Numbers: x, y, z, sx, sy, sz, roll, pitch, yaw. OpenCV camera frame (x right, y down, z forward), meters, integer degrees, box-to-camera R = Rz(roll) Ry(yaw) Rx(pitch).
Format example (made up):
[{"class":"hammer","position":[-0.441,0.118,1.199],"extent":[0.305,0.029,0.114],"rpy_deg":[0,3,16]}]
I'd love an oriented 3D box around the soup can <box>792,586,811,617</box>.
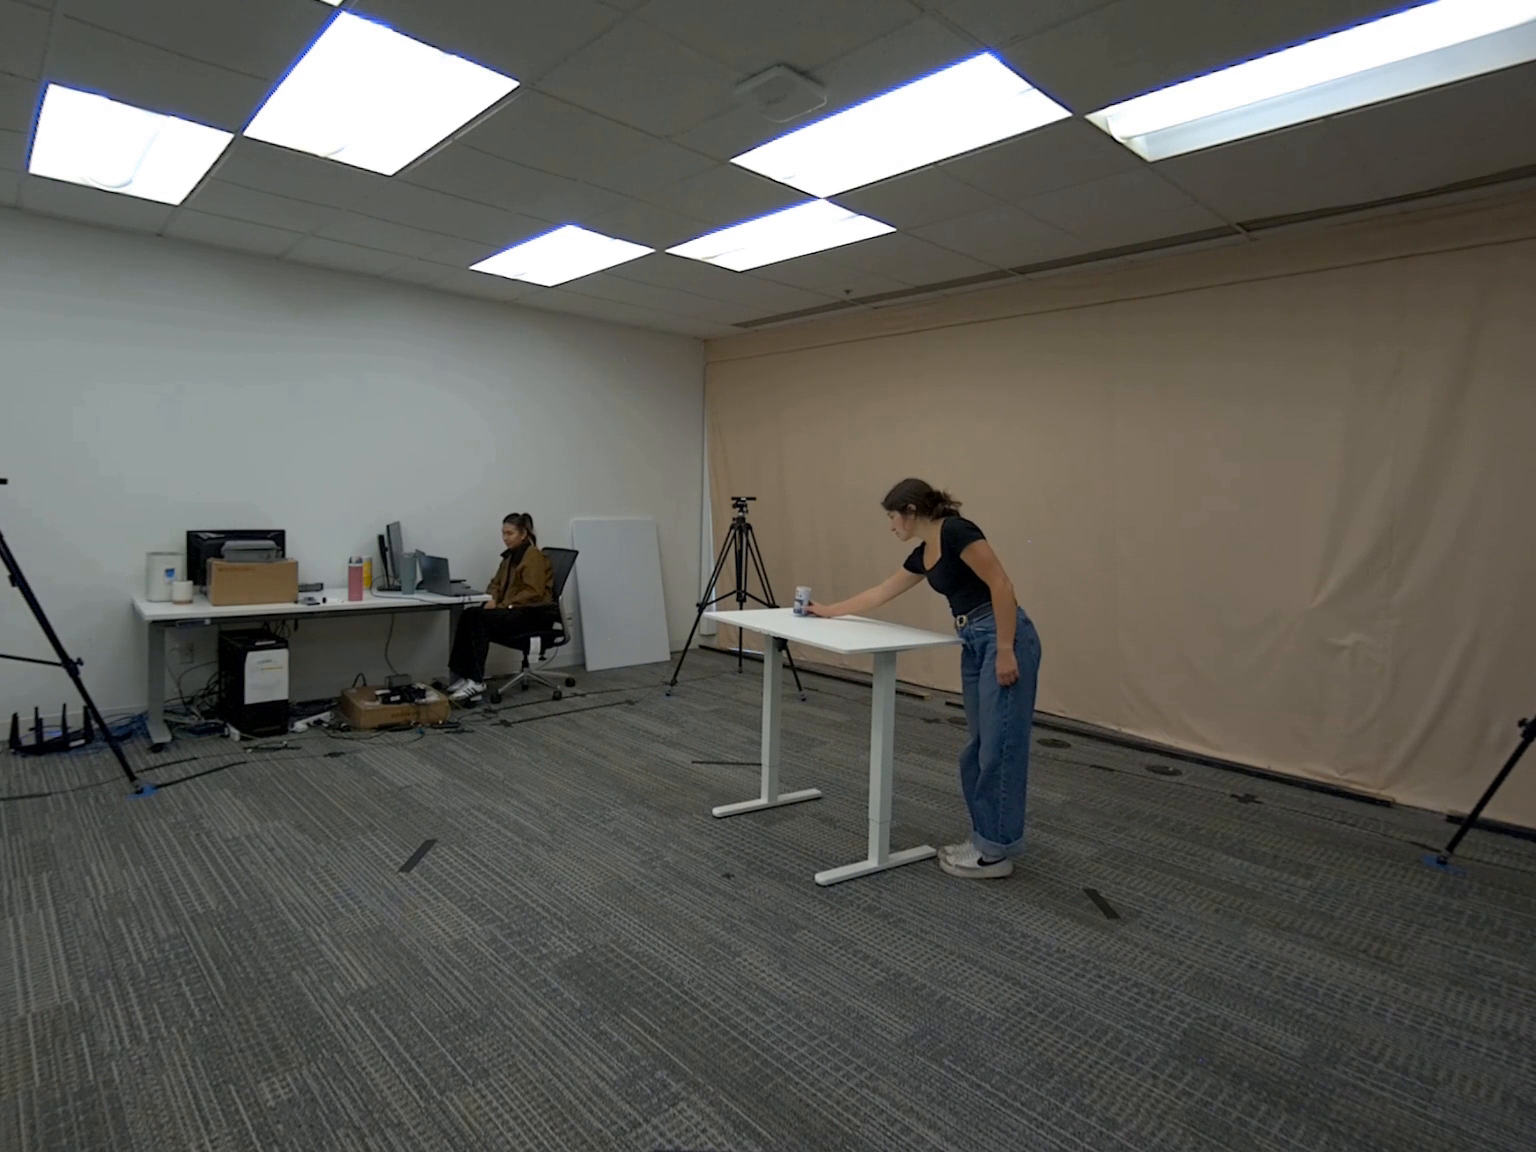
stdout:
[{"class":"soup can","position":[0.135,0.106,3.715],"extent":[0.067,0.121,0.067],"rpy_deg":[6,9,-2]}]
